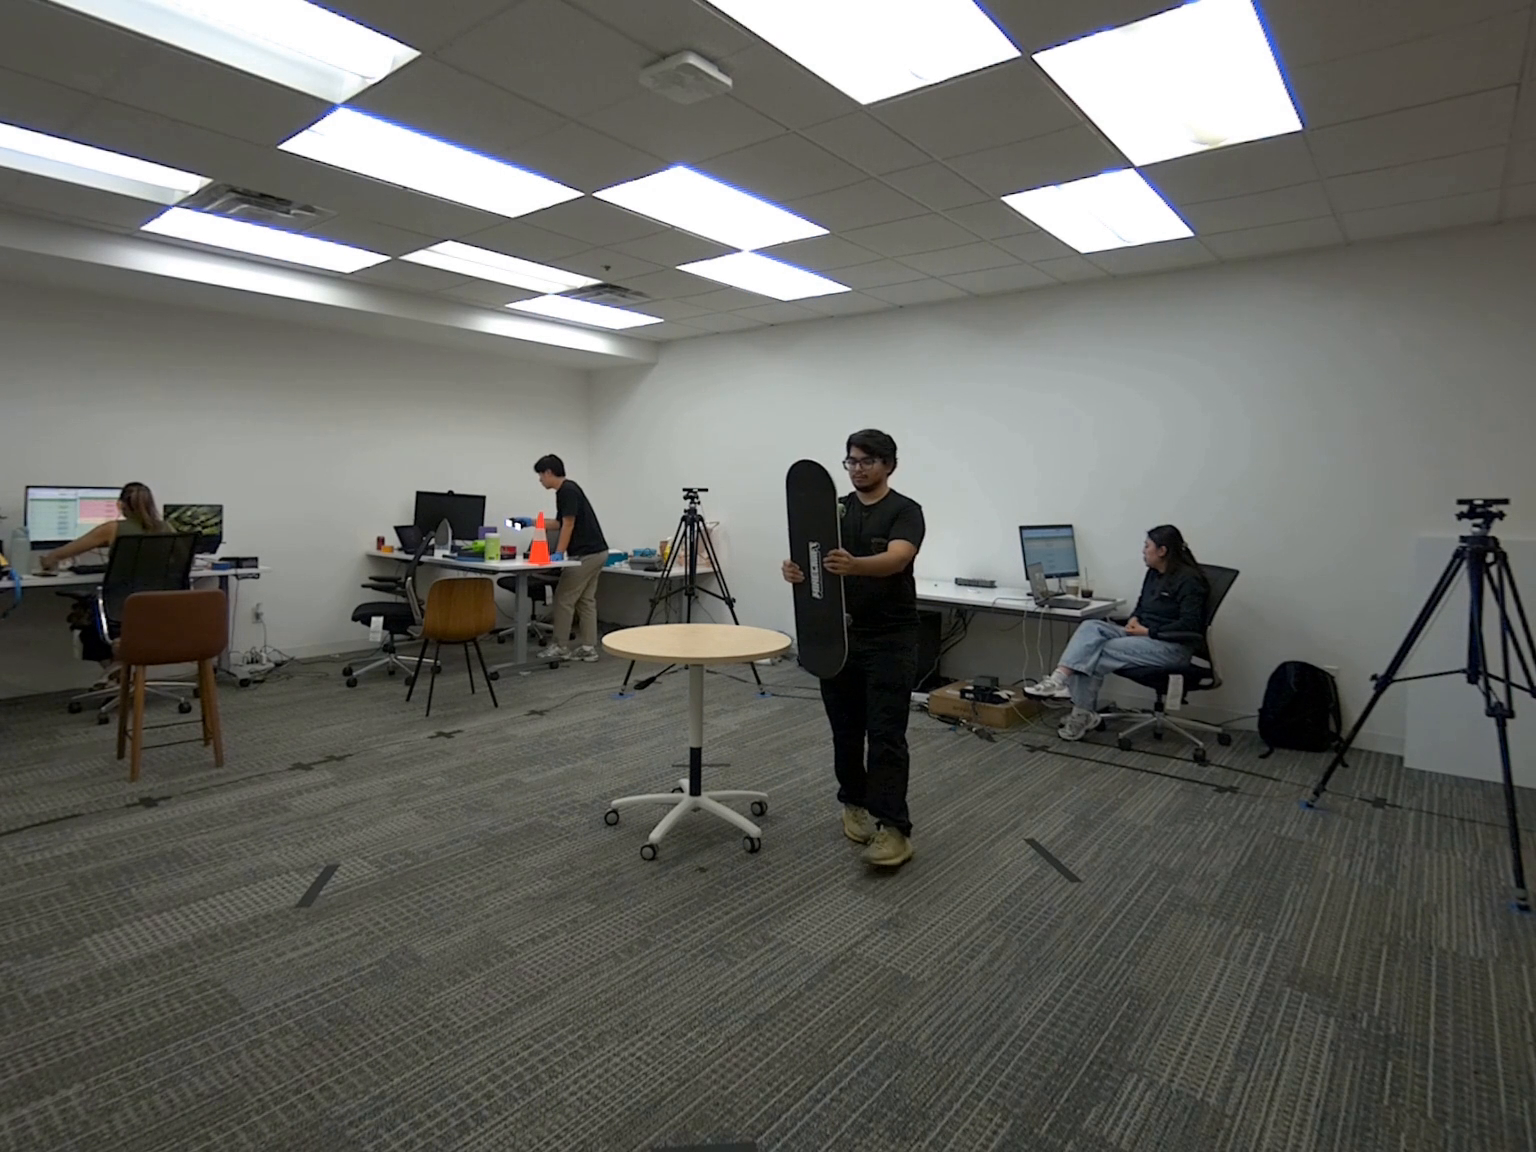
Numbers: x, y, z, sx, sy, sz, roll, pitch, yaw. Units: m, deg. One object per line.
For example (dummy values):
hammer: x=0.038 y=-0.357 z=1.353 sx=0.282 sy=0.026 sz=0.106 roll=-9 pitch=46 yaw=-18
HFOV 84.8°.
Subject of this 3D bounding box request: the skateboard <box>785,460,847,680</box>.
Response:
skateboard: x=0.180 y=-0.027 z=3.011 sx=0.199 sy=0.776 sz=0.108 roll=2 pitch=12 yaw=30
